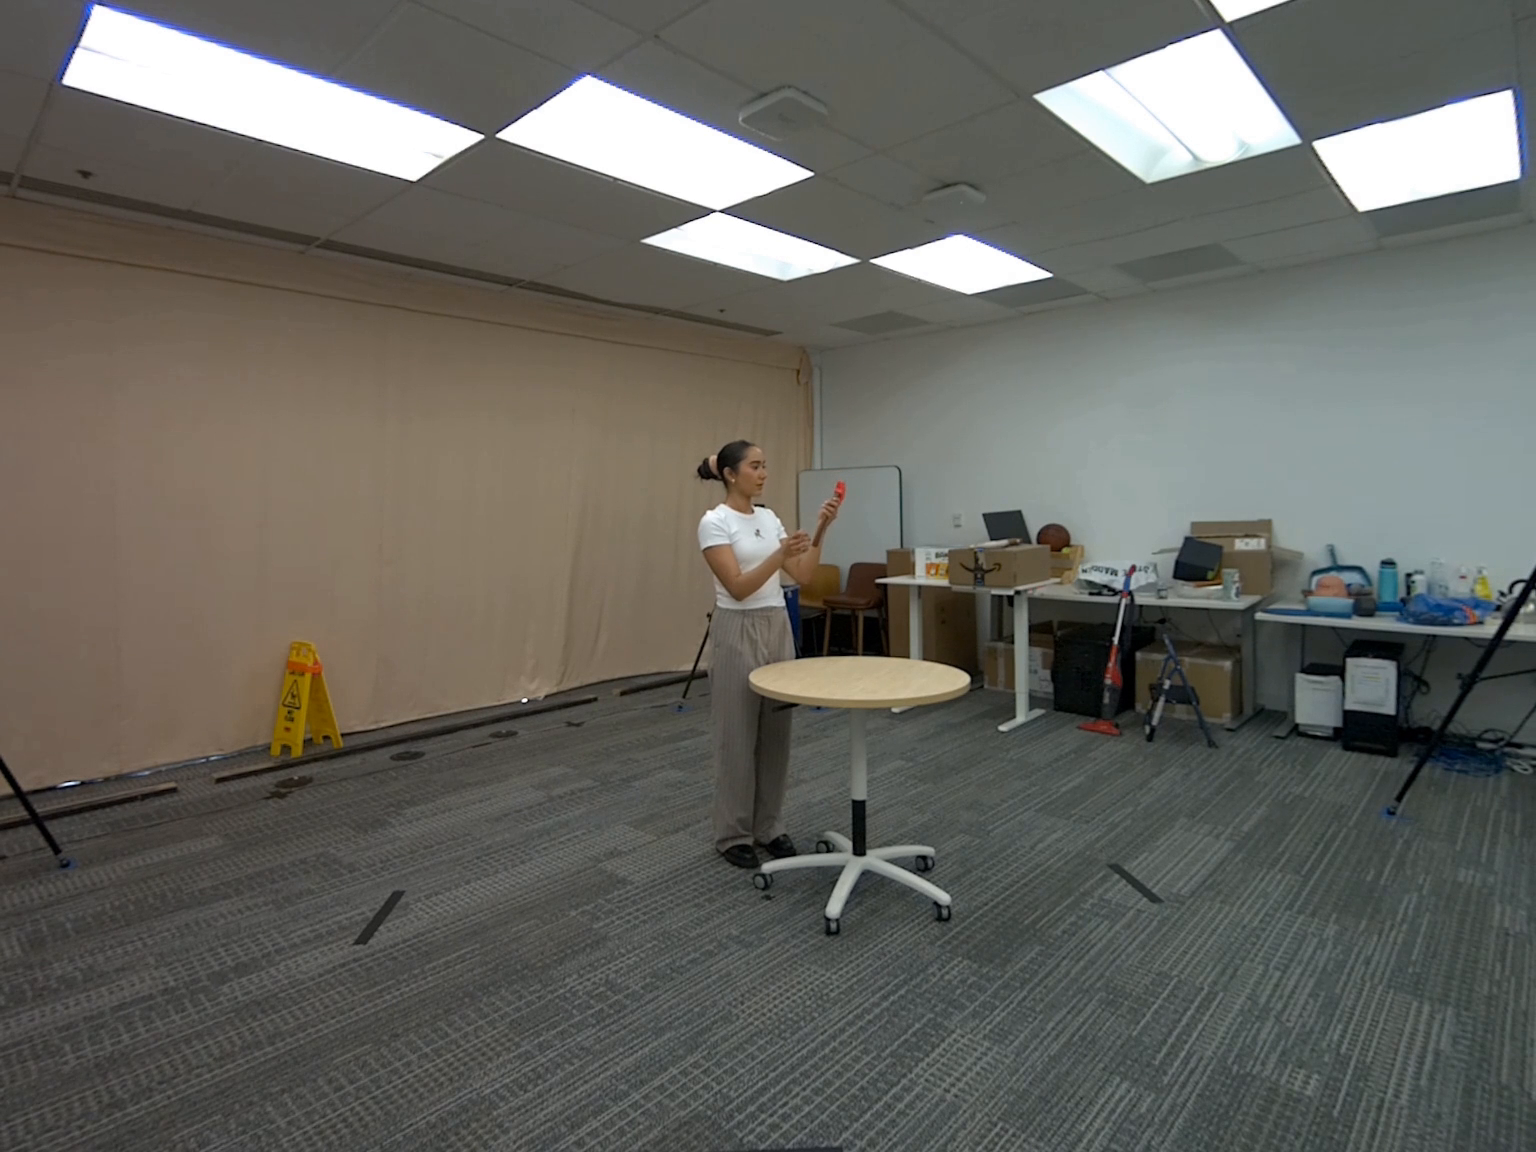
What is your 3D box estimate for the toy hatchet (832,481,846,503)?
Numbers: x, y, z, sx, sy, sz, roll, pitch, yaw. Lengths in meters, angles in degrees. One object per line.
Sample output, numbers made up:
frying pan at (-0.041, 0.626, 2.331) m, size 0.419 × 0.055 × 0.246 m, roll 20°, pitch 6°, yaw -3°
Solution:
toy hatchet at (0.249, -0.233, 3.203) m, size 0.030 × 0.270 × 0.127 m, roll 20°, pitch 1°, yaw 23°
